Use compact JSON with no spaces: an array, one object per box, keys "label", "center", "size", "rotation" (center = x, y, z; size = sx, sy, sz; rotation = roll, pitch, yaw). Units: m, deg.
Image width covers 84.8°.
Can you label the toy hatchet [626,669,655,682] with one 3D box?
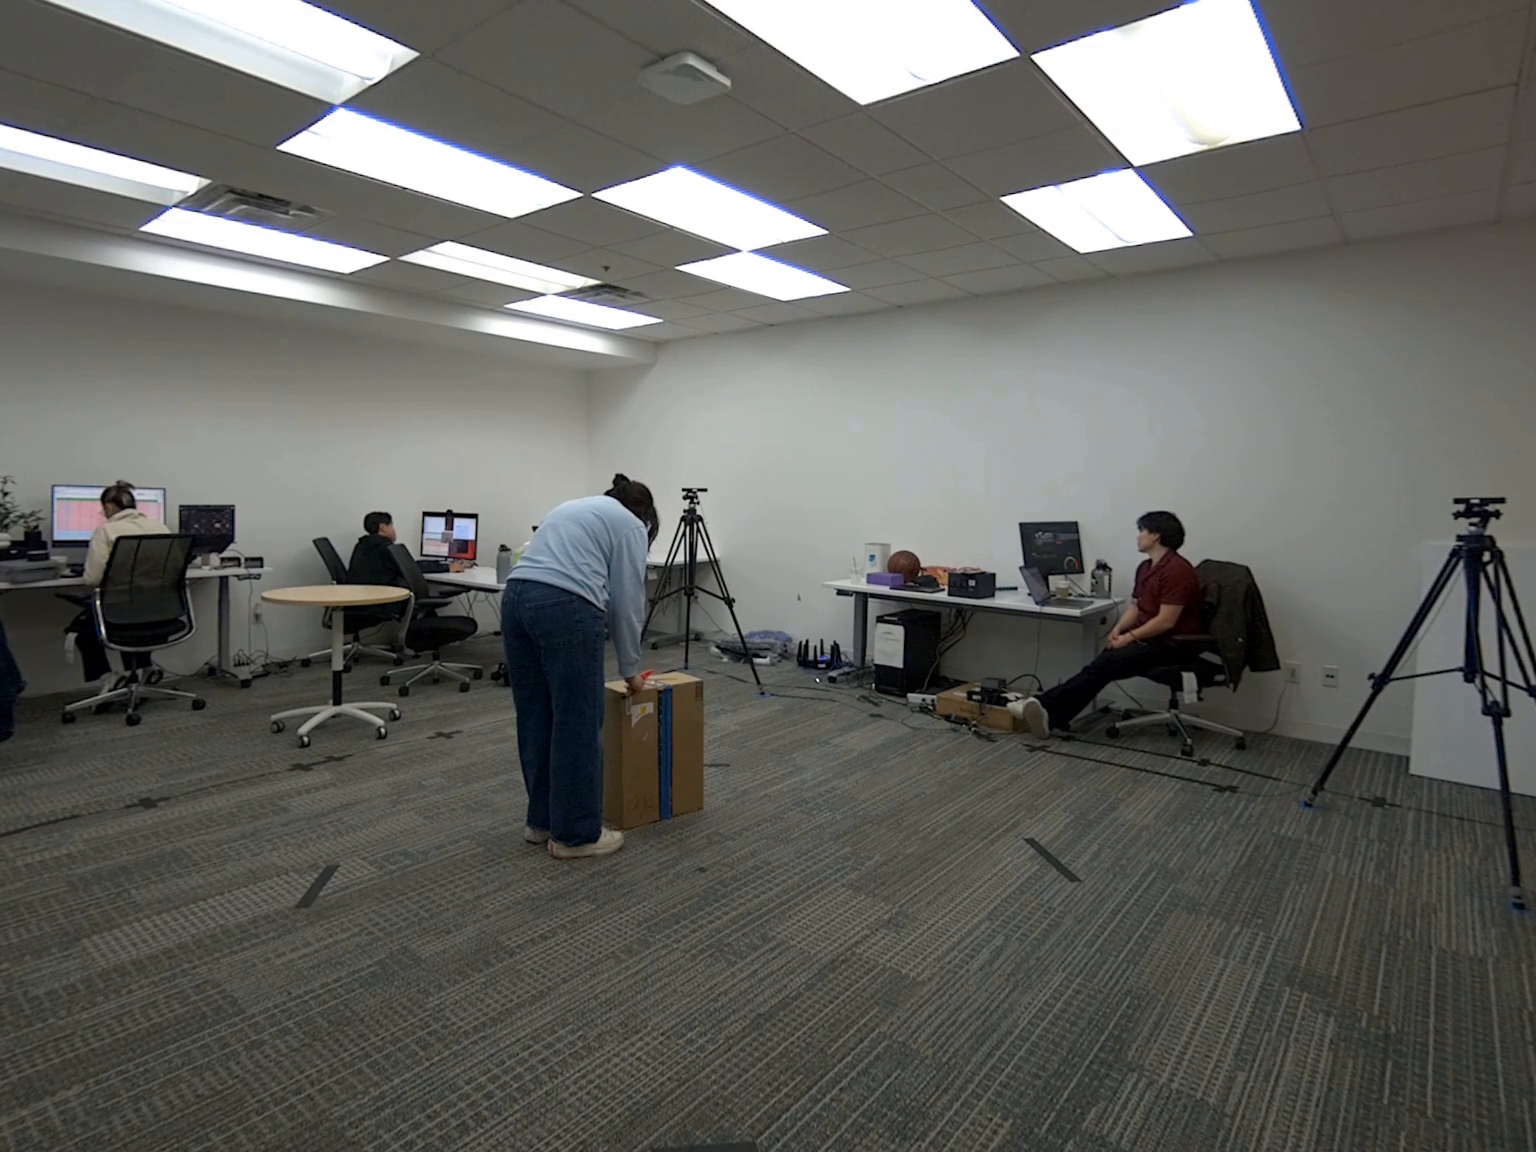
[{"label":"toy hatchet","center":[-0.577,0.455,3.438],"size":[0.132,0.029,0.269],"rotation":[-25,8,21]}]
